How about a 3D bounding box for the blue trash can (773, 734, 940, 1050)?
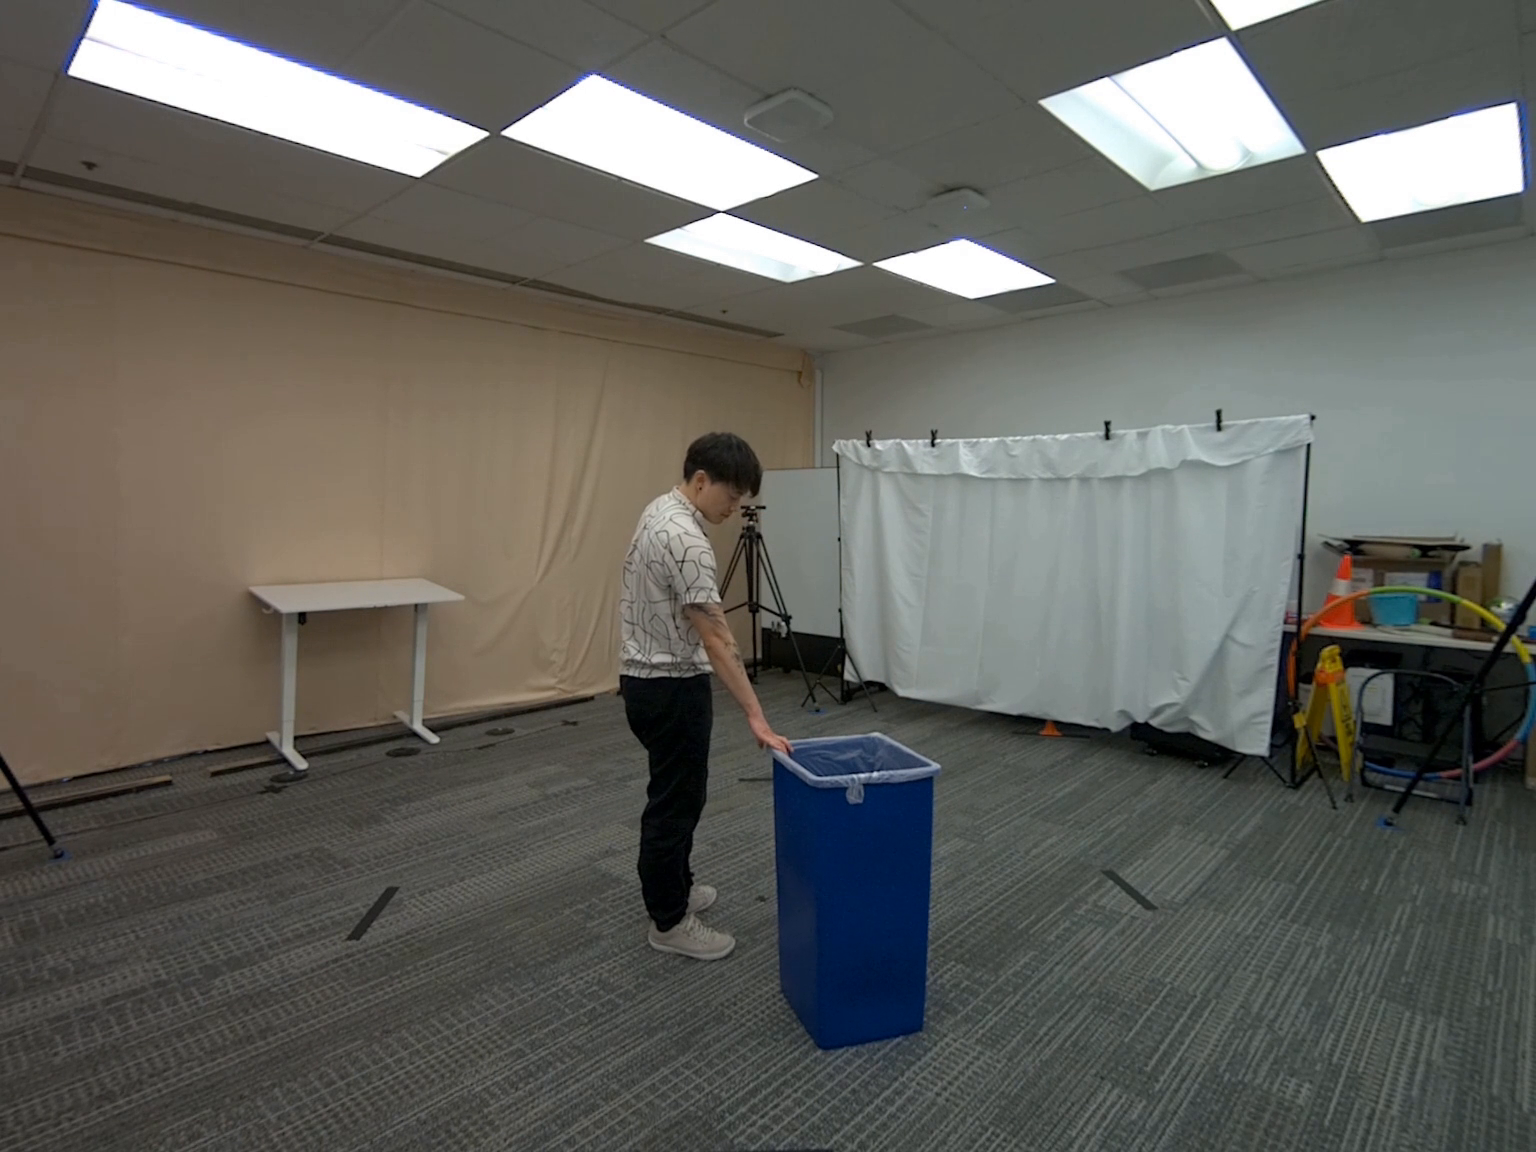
[{"bbox_3d":[0.225,0.842,2.317,0.371,0.712,0.382,-1,3,-19],"label":"blue trash can"}]
